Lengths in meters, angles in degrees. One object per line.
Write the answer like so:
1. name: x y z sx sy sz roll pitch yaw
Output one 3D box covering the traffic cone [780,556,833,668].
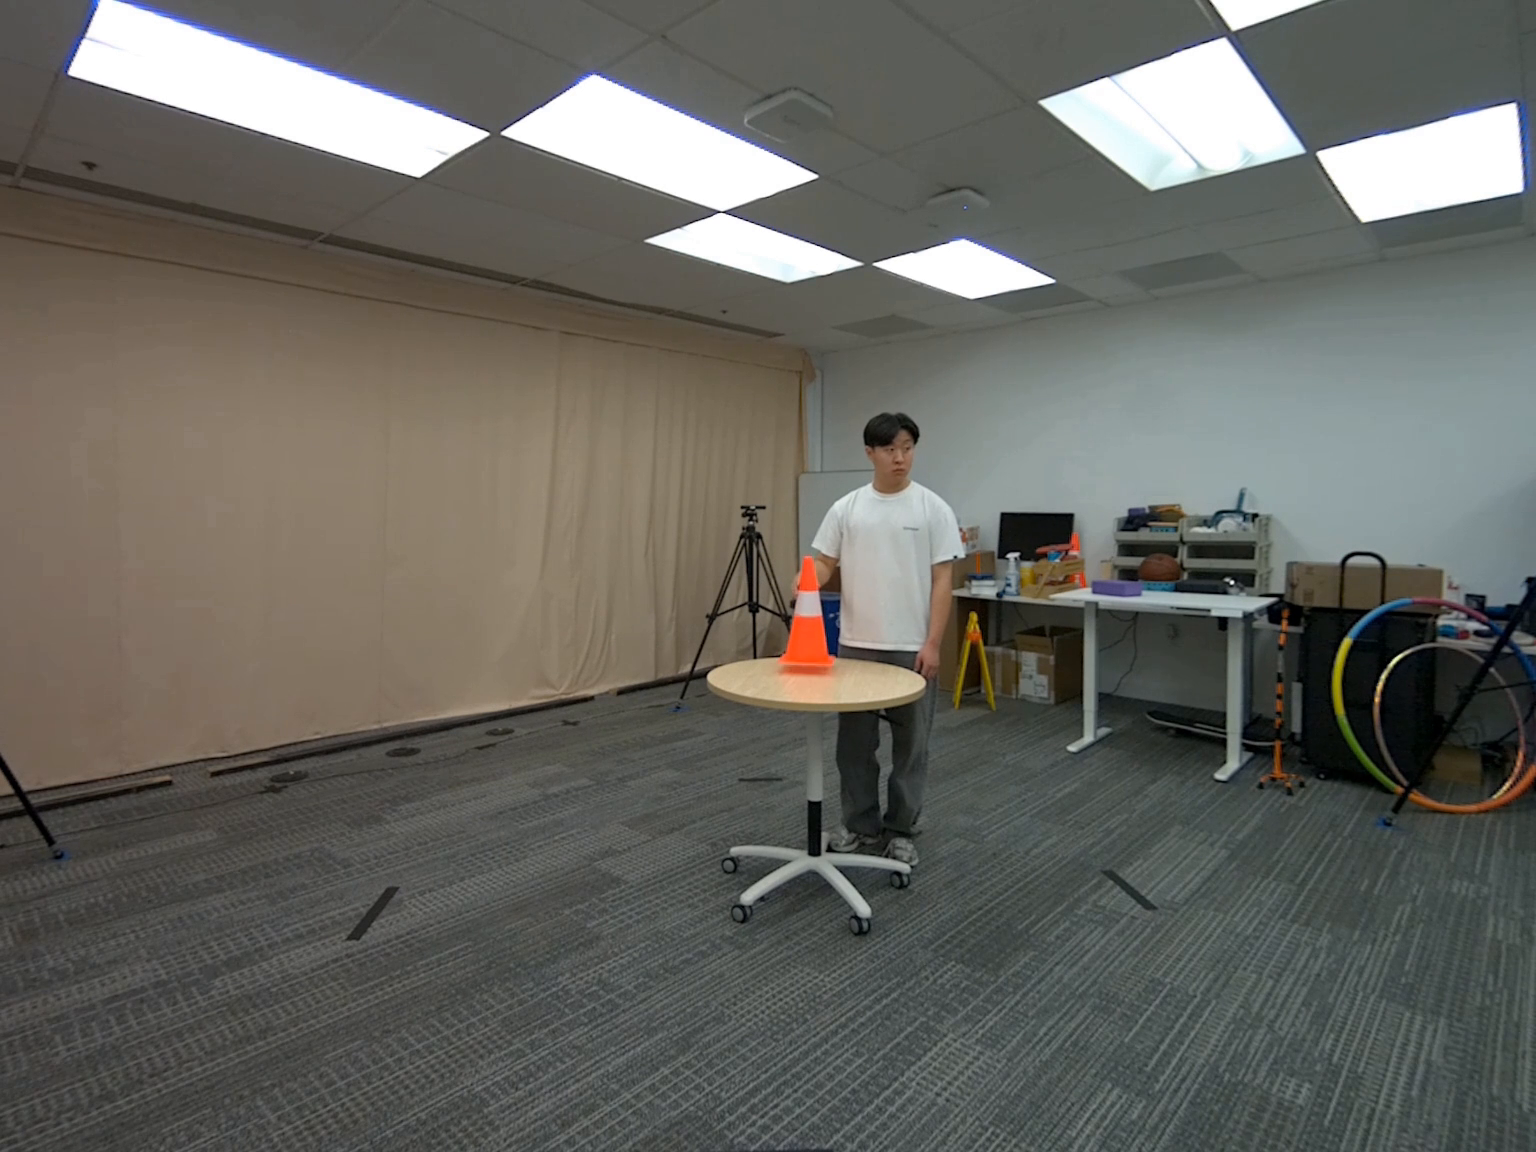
1. traffic cone: 0.155 0.125 3.080 0.208 0.383 0.200 1 4 15
